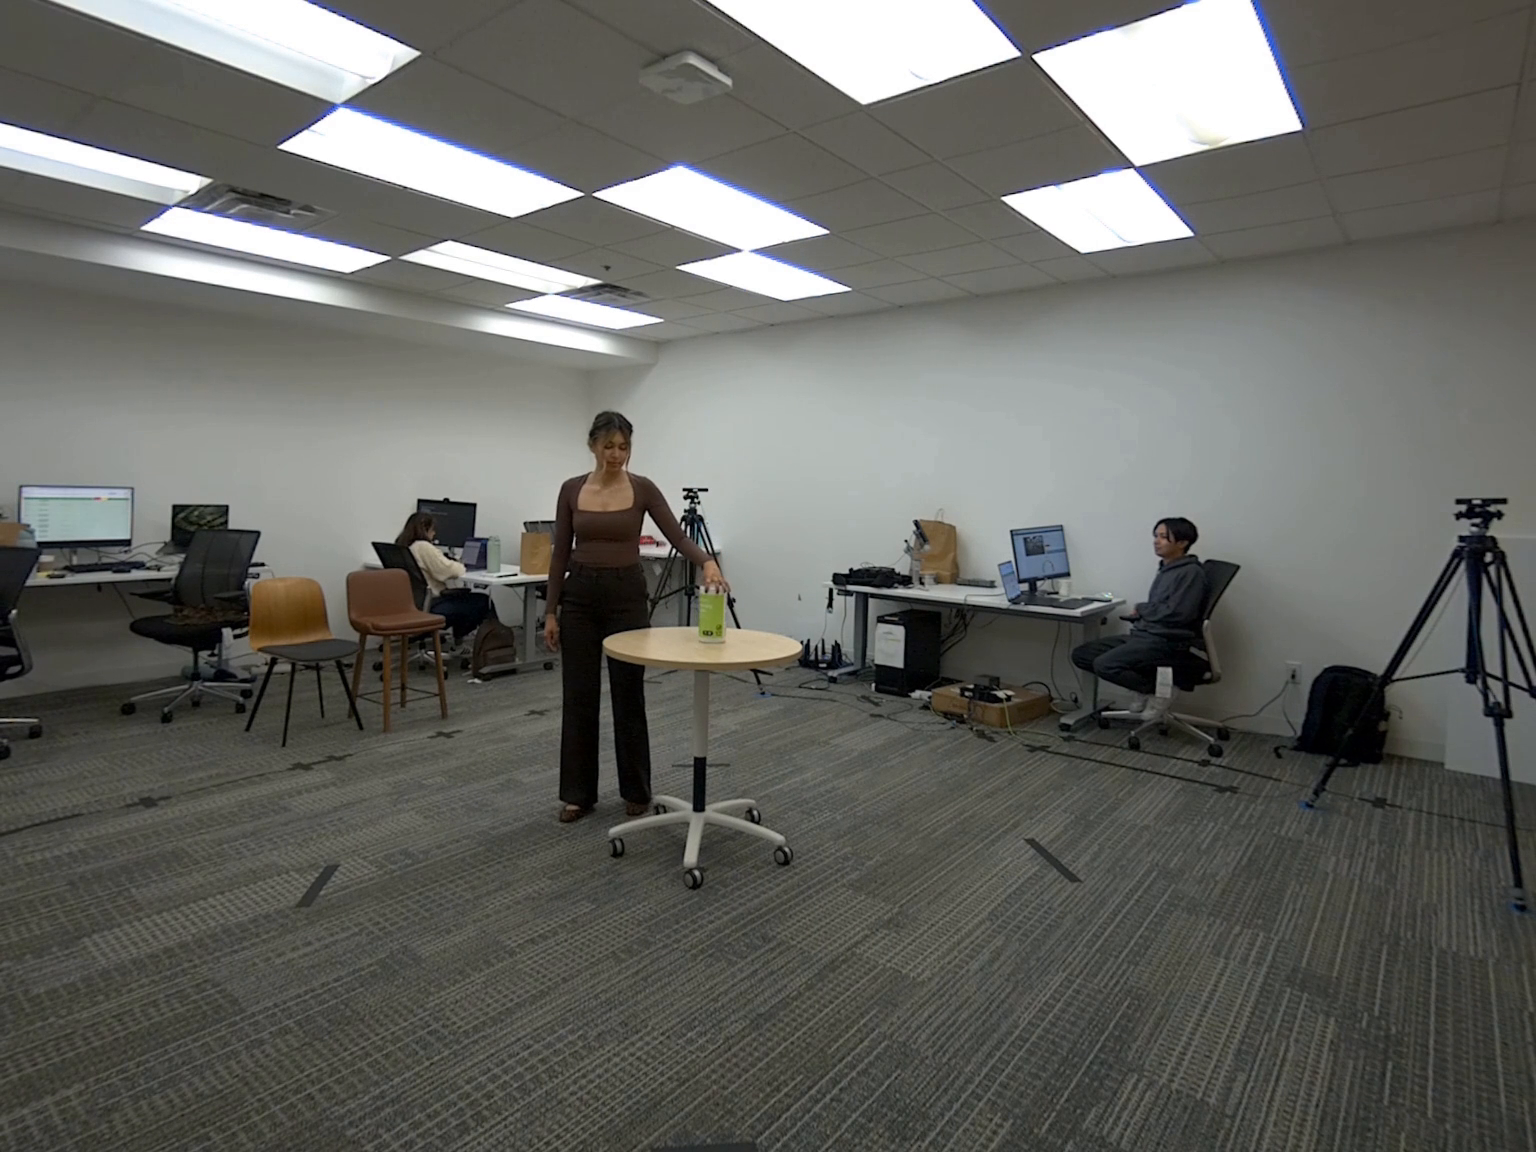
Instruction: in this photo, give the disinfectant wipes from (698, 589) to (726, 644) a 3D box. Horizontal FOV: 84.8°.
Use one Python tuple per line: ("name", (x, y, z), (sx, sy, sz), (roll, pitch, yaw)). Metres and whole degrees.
("disinfectant wipes", (-0.226, 0.146, 3.318), (0.117, 0.217, 0.118), (2, 2, -2))
